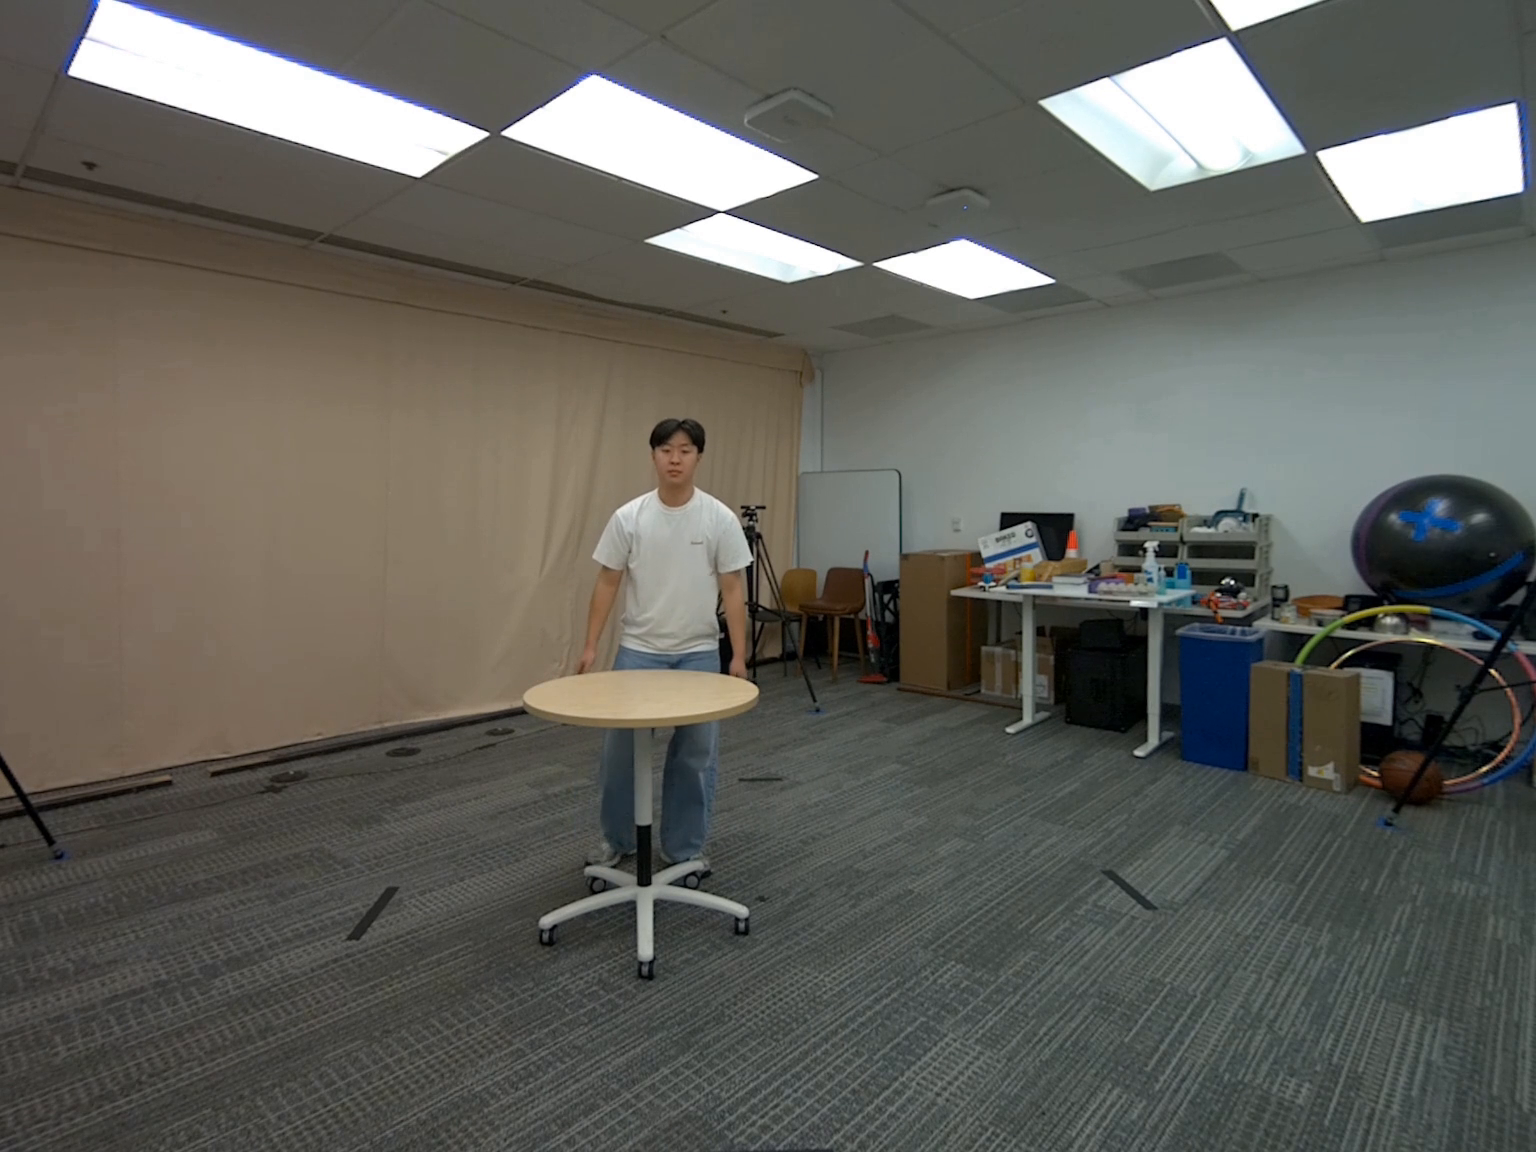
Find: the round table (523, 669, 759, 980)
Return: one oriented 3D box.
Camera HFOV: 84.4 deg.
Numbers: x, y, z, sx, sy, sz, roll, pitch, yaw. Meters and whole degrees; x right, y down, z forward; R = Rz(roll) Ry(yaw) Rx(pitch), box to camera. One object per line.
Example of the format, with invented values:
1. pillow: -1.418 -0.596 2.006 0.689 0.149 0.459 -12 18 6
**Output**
1. round table: -0.391 0.765 2.776 0.784 0.785 0.787 0 3 -2
